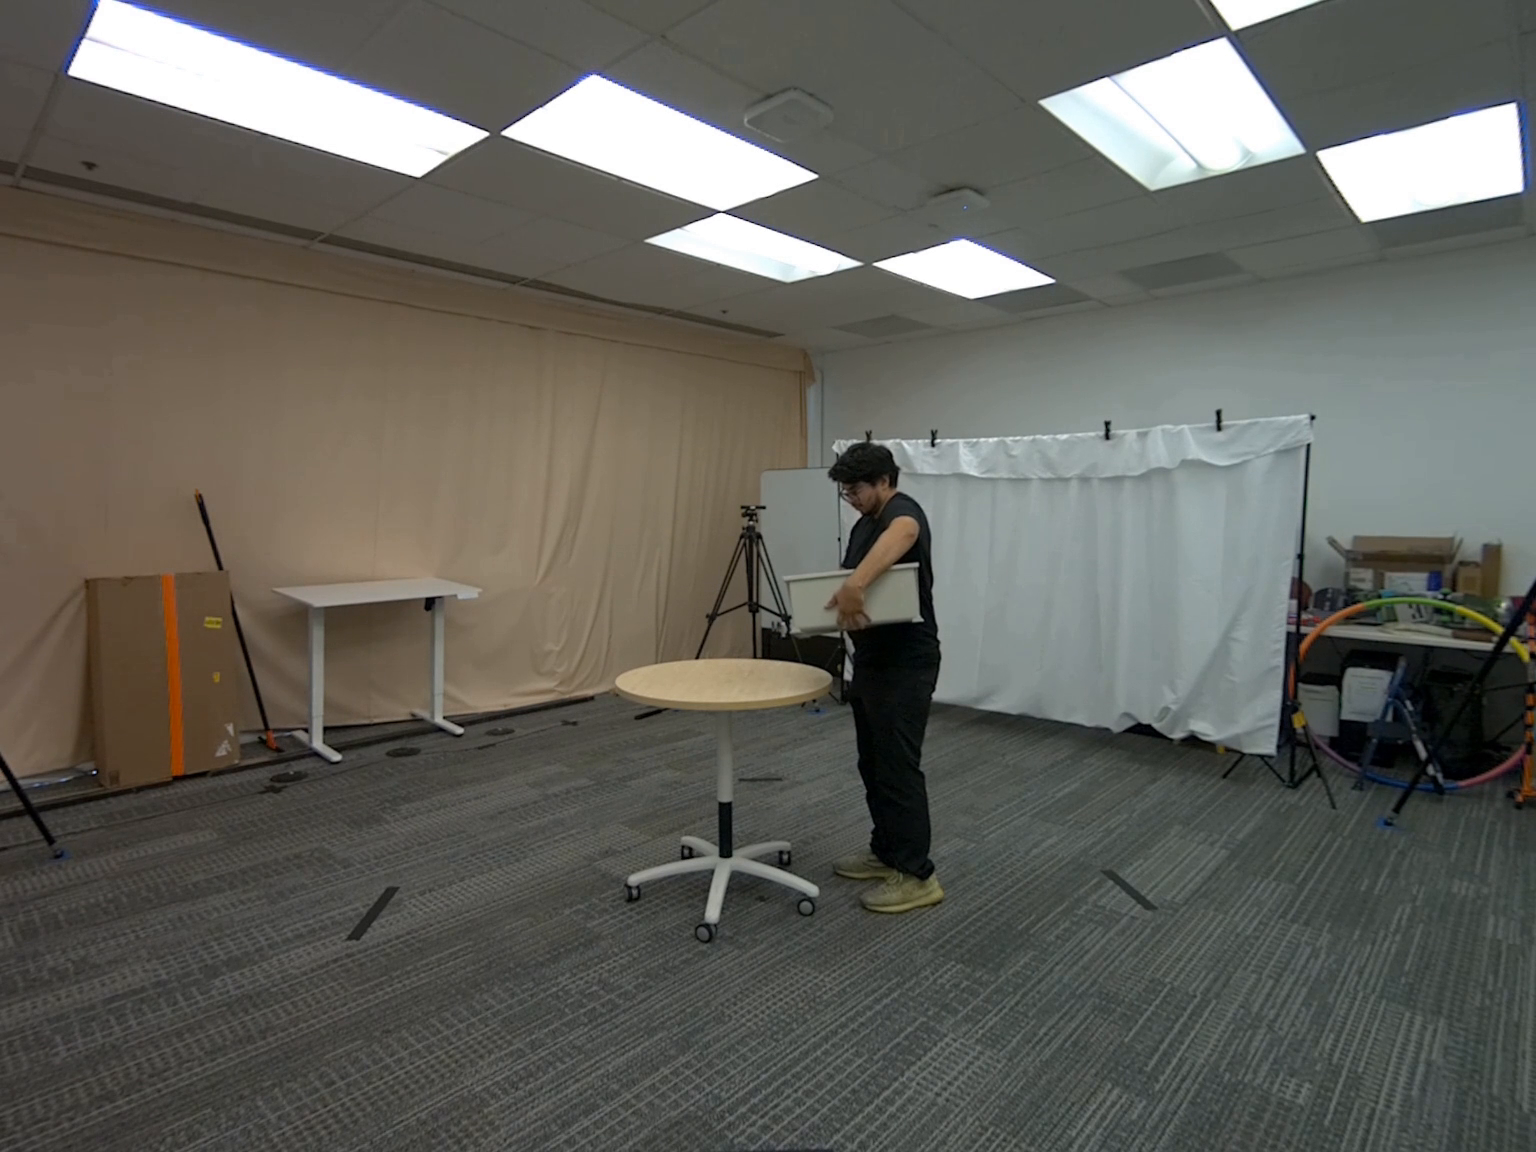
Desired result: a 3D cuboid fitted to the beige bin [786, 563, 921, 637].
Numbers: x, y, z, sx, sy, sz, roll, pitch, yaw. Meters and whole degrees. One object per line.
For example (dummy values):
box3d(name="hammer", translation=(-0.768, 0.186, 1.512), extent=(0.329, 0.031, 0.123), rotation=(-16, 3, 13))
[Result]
box3d(name="beige bin", translation=(0.280, 0.086, 2.795), extent=(0.425, 0.189, 0.373), rotation=(-6, -3, 7))
